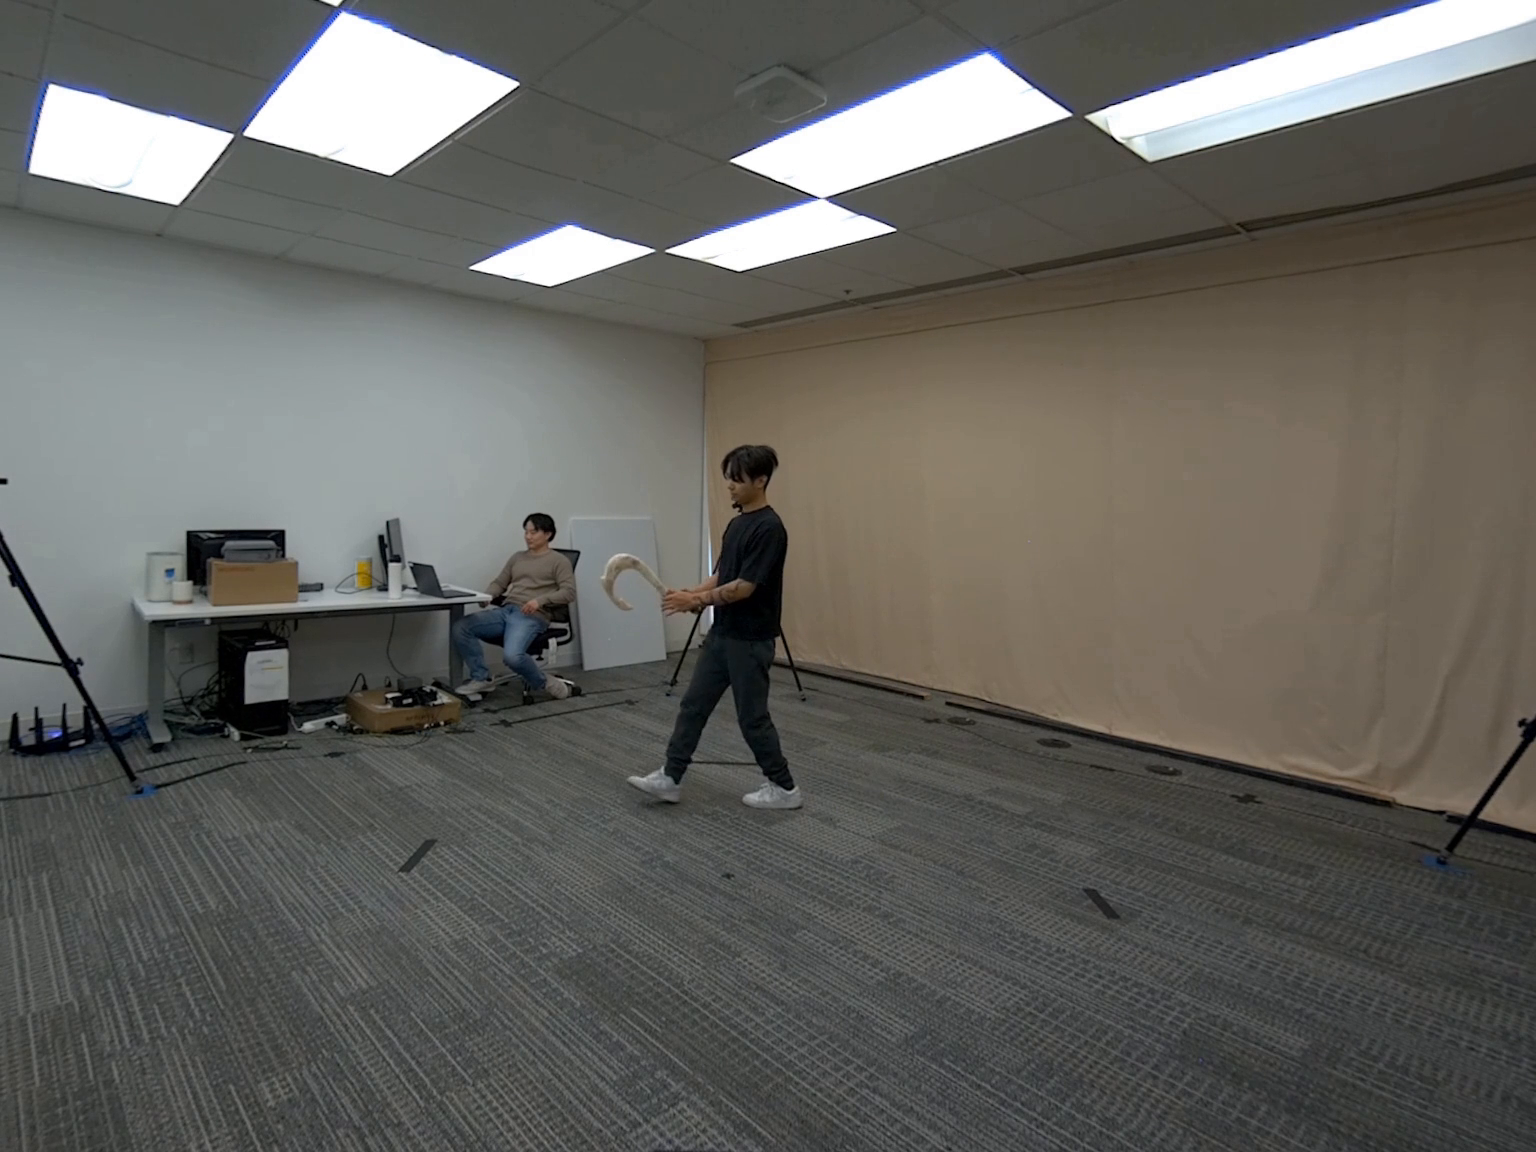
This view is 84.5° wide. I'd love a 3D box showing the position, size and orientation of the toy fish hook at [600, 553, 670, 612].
[{"bbox_3d":[-0.527,0.115,3.624,0.492,0.225,0.049,34,-14,-33],"label":"toy fish hook"}]
